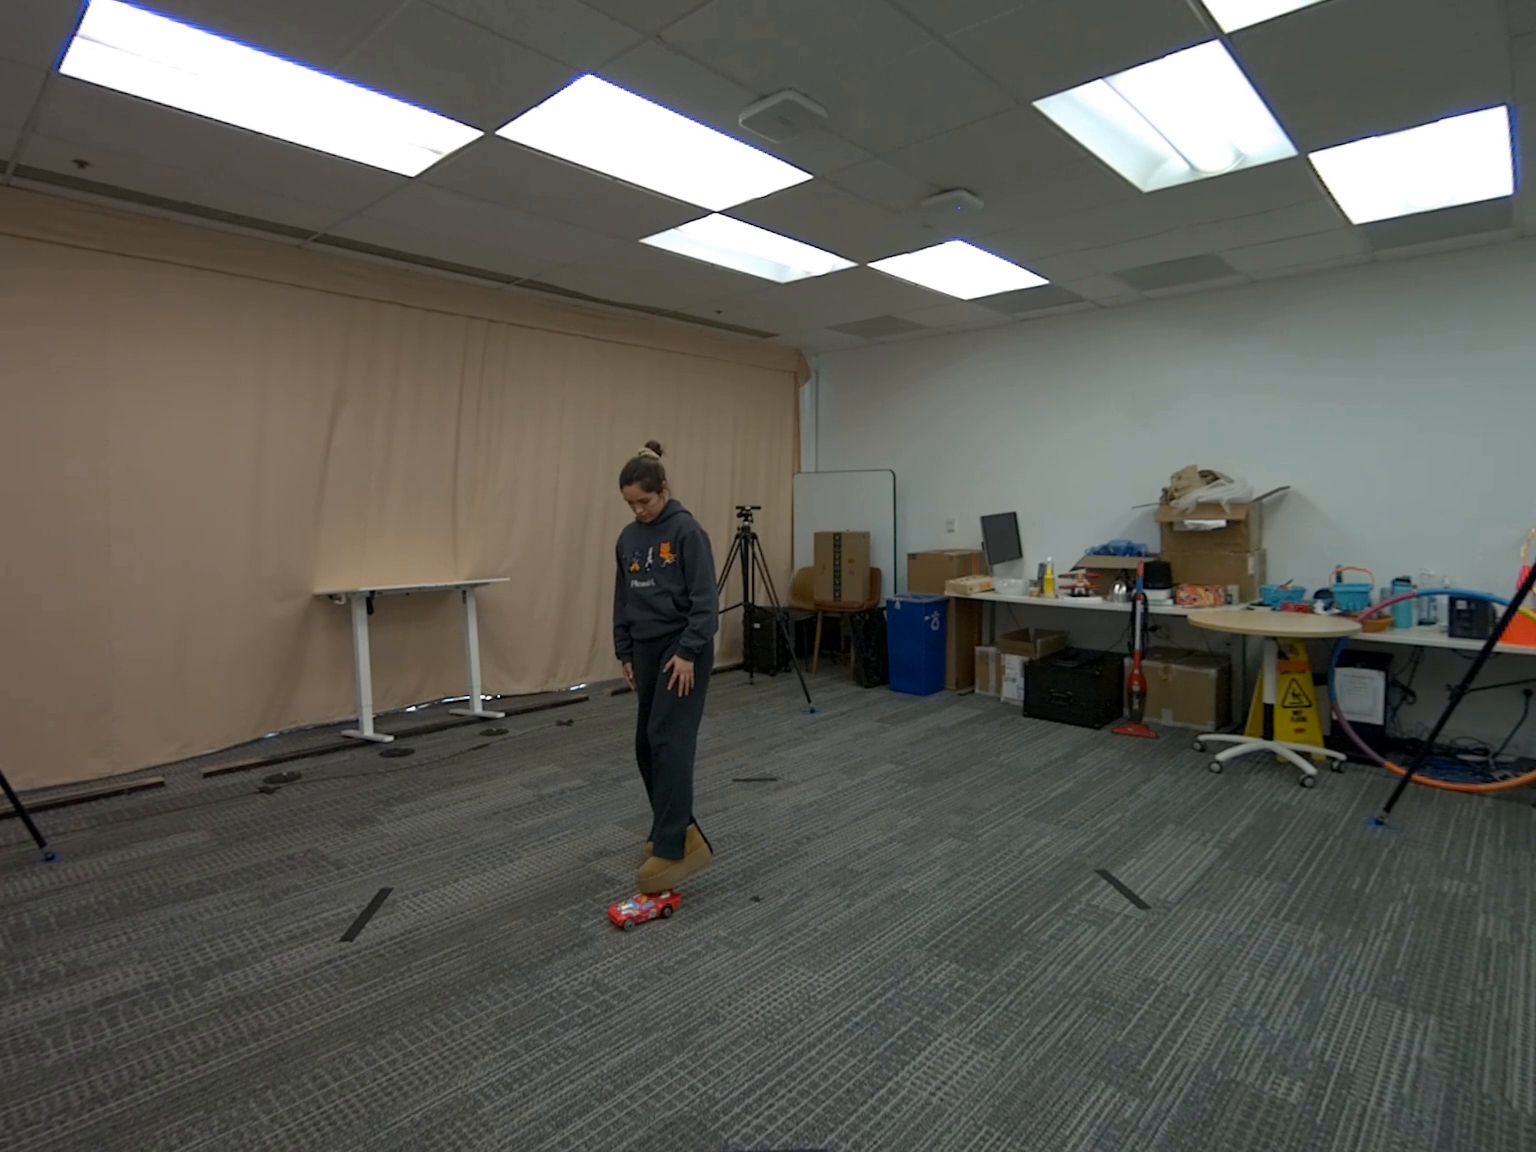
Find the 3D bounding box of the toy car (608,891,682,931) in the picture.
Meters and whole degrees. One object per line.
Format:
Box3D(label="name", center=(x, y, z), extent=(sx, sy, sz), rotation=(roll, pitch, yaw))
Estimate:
Box3D(label="toy car", center=(-0.395, 1.121, 2.863), extent=(0.249, 0.082, 0.134), rotation=(-17, 12, -33))
